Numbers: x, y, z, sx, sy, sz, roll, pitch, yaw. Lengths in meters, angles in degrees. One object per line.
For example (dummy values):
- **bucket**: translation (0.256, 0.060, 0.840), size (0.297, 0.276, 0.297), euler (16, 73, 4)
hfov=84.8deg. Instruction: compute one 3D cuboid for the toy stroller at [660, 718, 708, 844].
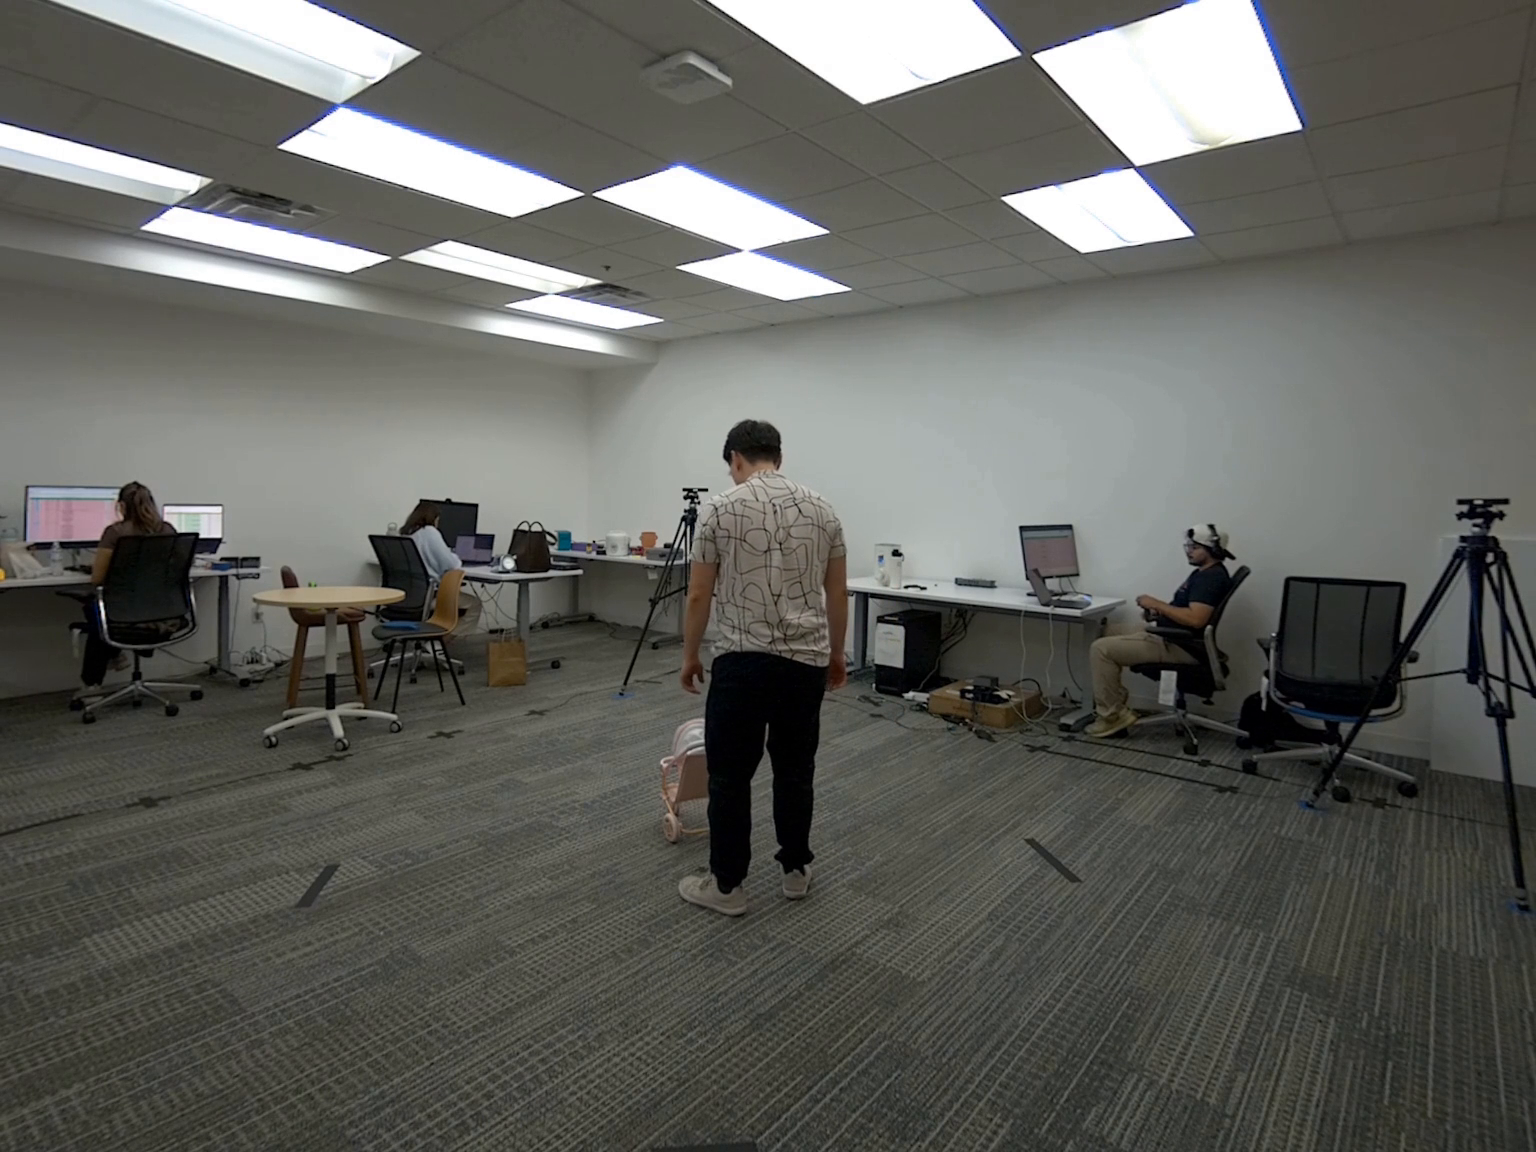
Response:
- **toy stroller**: translation (-0.313, 0.809, 3.456), size (0.275, 0.527, 0.354), euler (0, 20, -24)
